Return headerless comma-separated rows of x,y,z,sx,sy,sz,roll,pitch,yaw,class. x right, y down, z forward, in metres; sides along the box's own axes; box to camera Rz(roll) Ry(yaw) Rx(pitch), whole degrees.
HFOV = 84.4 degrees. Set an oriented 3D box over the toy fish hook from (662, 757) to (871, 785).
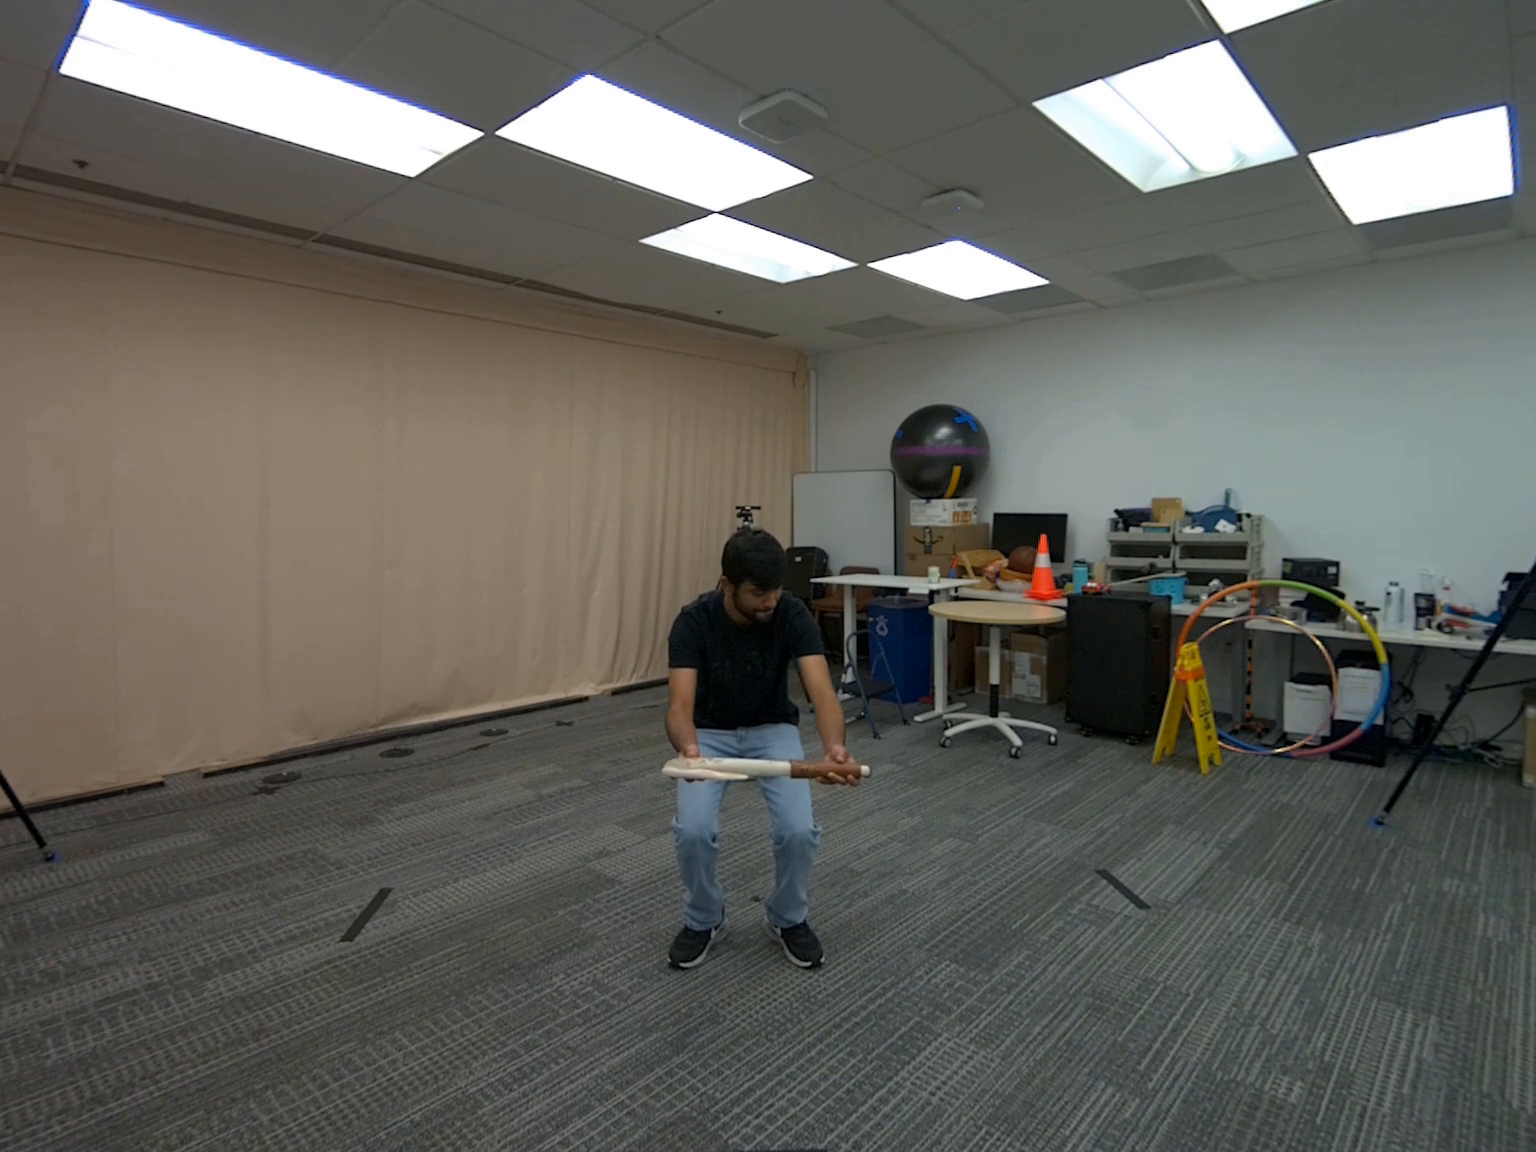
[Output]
0.021,0.465,2.008,0.507,0.048,0.224,0,-1,0,toy fish hook
